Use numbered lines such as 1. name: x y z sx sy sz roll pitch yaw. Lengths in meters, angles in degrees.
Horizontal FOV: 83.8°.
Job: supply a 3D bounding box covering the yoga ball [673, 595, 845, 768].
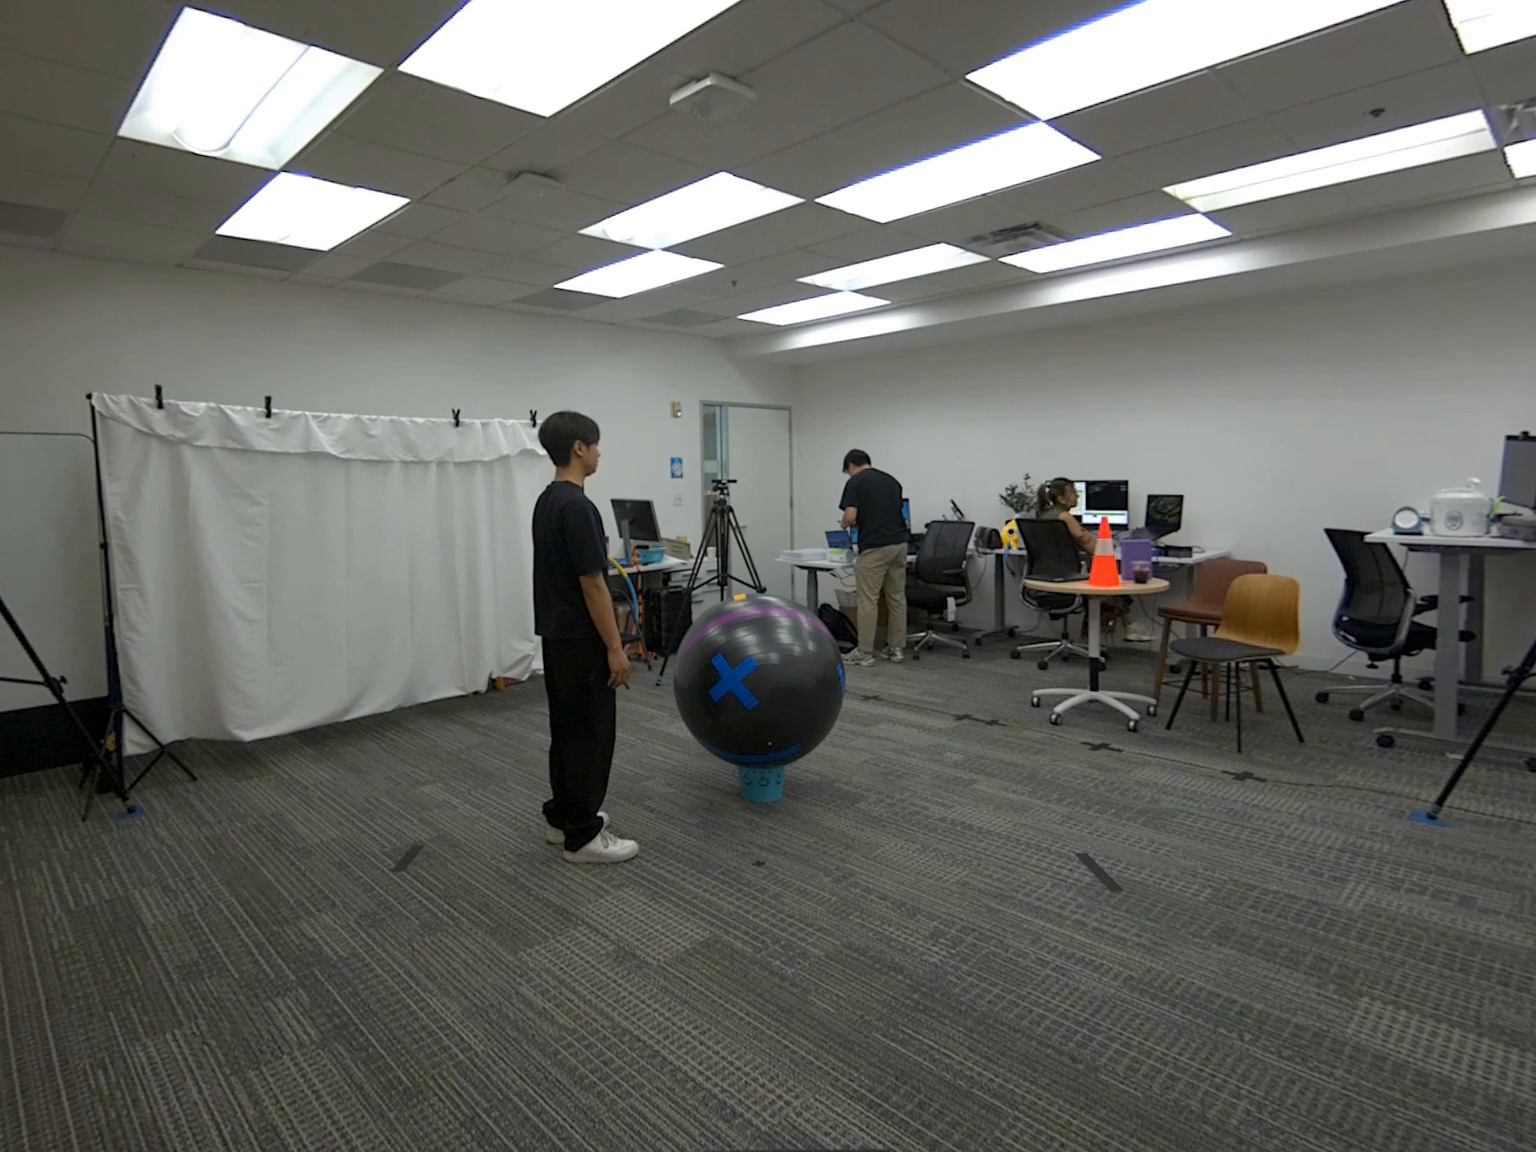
1. yoga ball: -0.041 0.462 3.774 0.757 0.755 0.762 -1 5 -2
